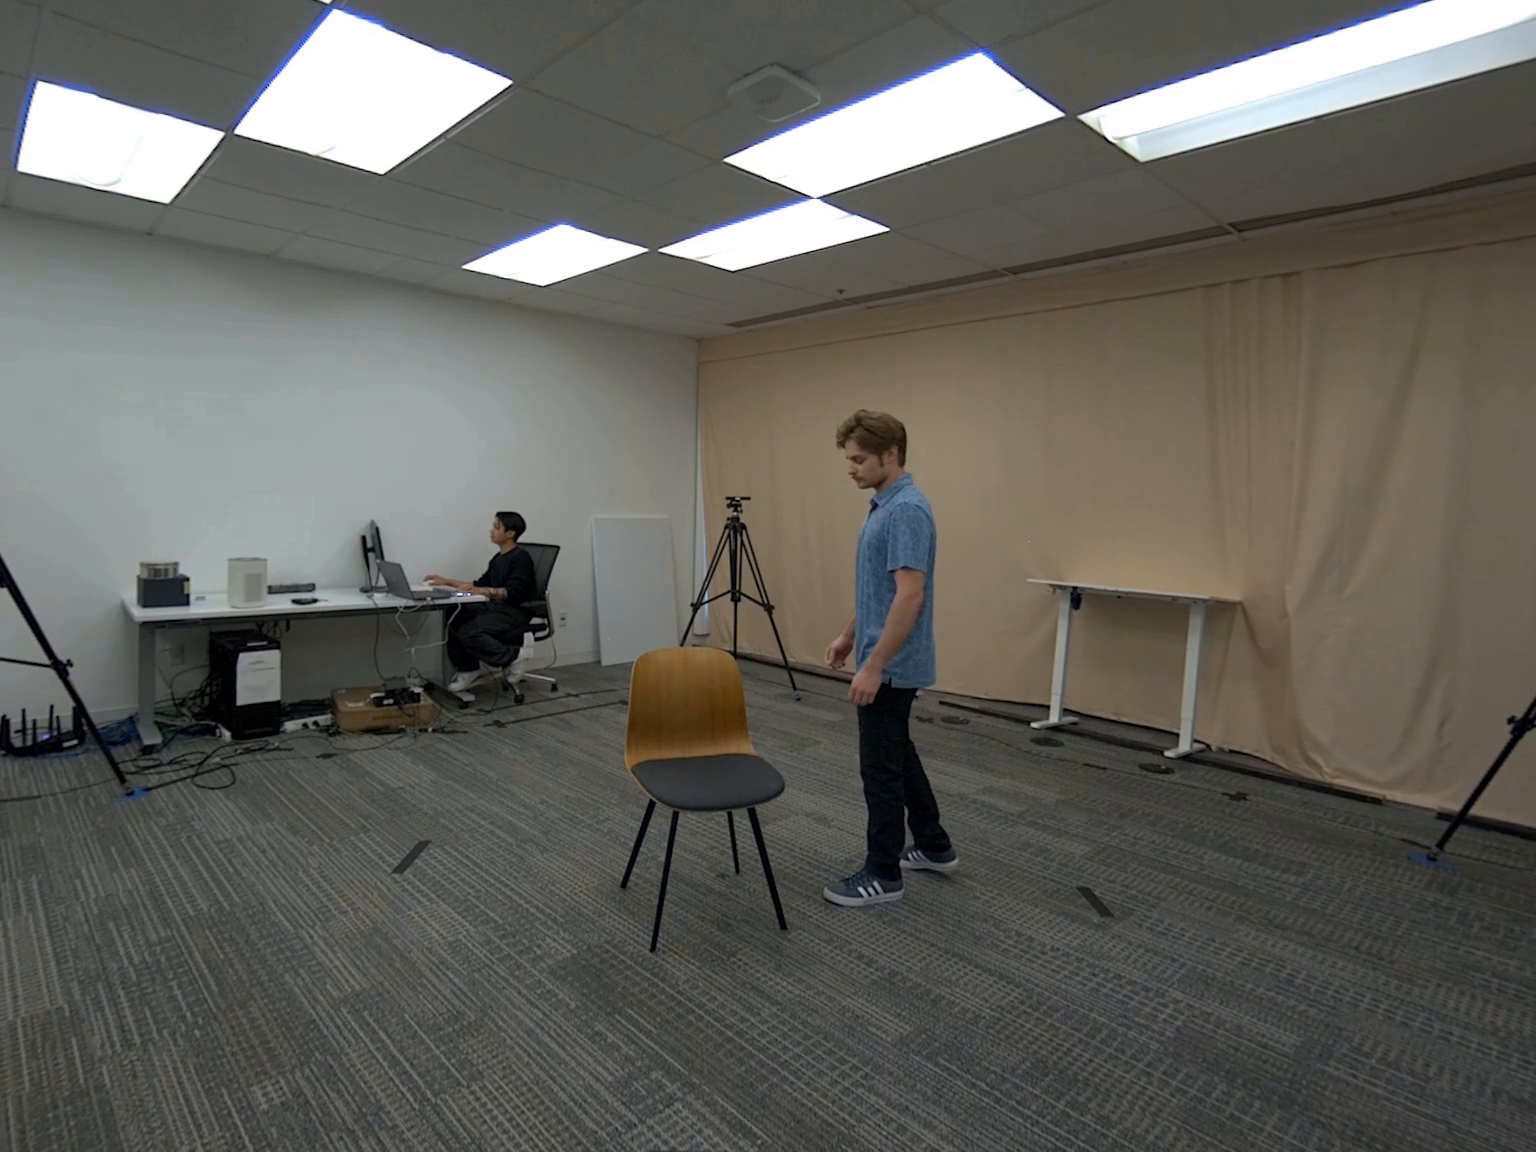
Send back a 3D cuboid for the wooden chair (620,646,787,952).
[{"bbox_3d":[-0.222,0.705,2.813,0.471,0.878,0.531,0,-1,-21],"label":"wooden chair"}]
